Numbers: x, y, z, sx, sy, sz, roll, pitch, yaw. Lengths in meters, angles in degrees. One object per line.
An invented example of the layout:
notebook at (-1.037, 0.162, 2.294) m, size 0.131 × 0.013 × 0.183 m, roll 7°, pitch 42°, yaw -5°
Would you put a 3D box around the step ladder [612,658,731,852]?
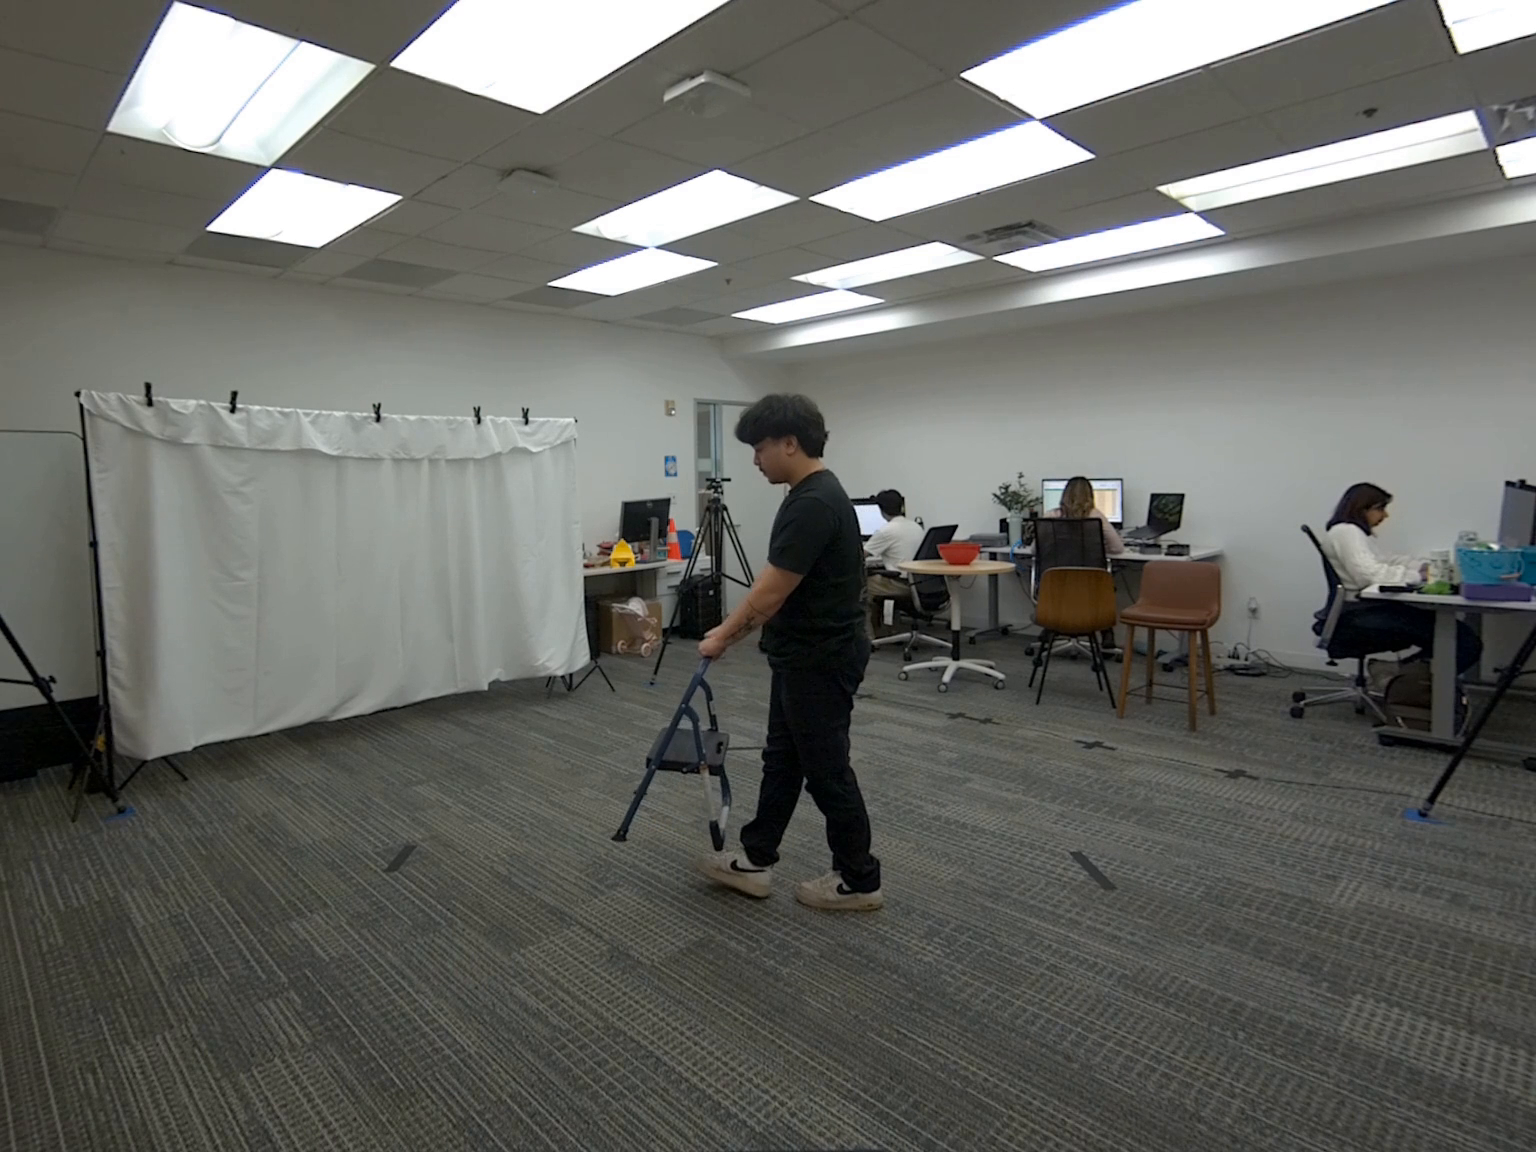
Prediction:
step ladder at (-0.273, 0.526, 2.819) m, size 0.350 × 0.604 × 0.431 m, roll 5°, pitch 5°, yaw 2°
